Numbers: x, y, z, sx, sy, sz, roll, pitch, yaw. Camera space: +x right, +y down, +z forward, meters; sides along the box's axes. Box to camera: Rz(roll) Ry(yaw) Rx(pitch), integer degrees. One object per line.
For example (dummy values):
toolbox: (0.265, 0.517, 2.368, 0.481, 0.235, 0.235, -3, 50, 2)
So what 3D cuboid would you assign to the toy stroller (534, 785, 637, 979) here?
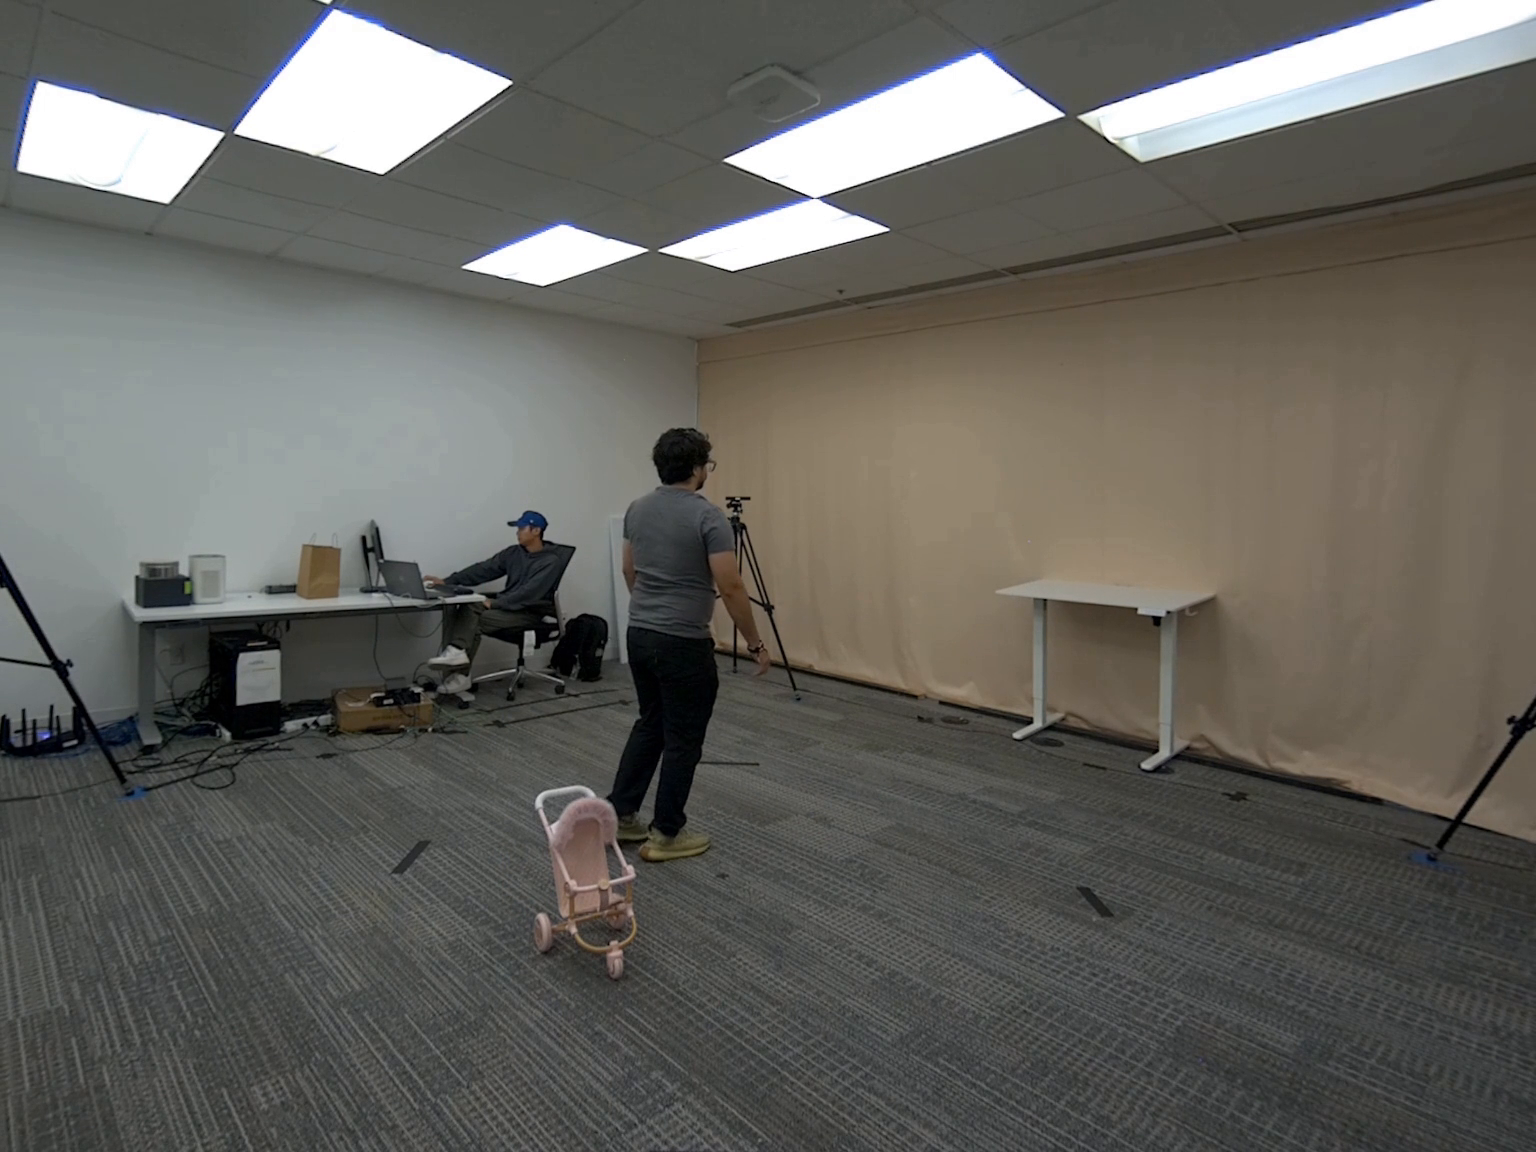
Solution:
toy stroller: (-0.565, 0.925, 2.575, 0.275, 0.540, 0.345, 0, -13, -32)
